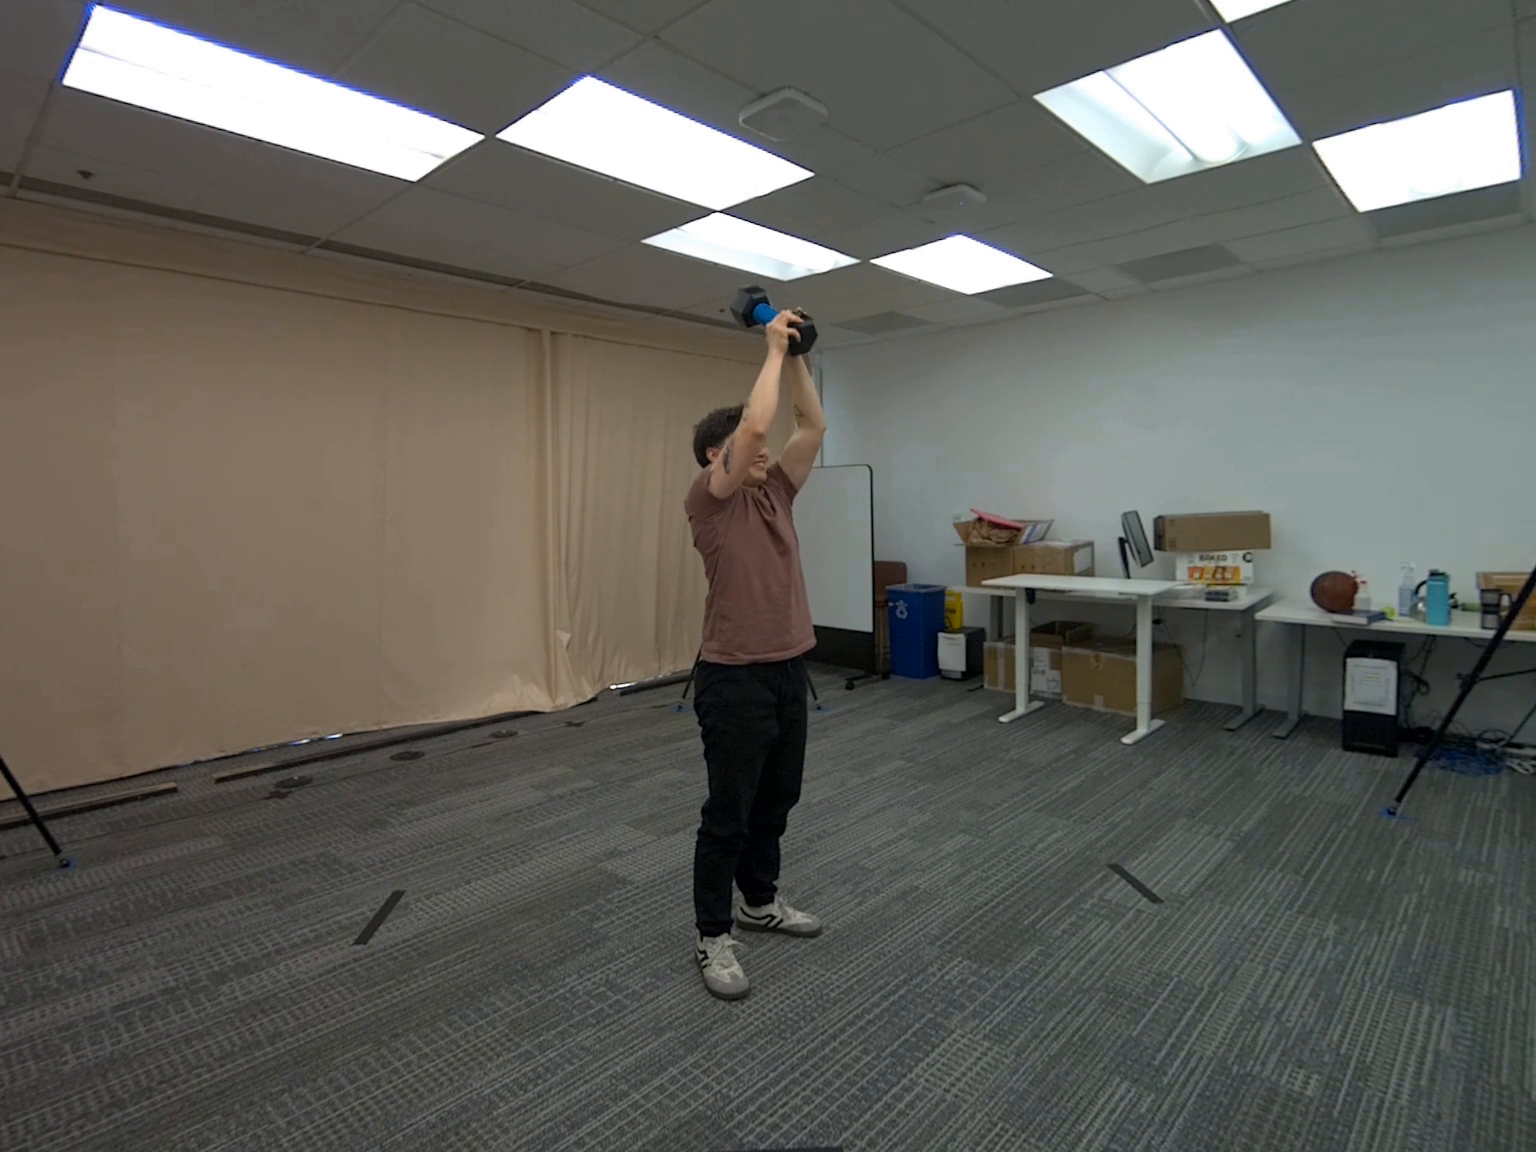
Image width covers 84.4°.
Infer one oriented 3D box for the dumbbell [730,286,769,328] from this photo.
[{"bbox_3d":[0.019,-0.757,2.497,0.105,0.123,0.304,11,25,-50],"label":"dumbbell"}]
